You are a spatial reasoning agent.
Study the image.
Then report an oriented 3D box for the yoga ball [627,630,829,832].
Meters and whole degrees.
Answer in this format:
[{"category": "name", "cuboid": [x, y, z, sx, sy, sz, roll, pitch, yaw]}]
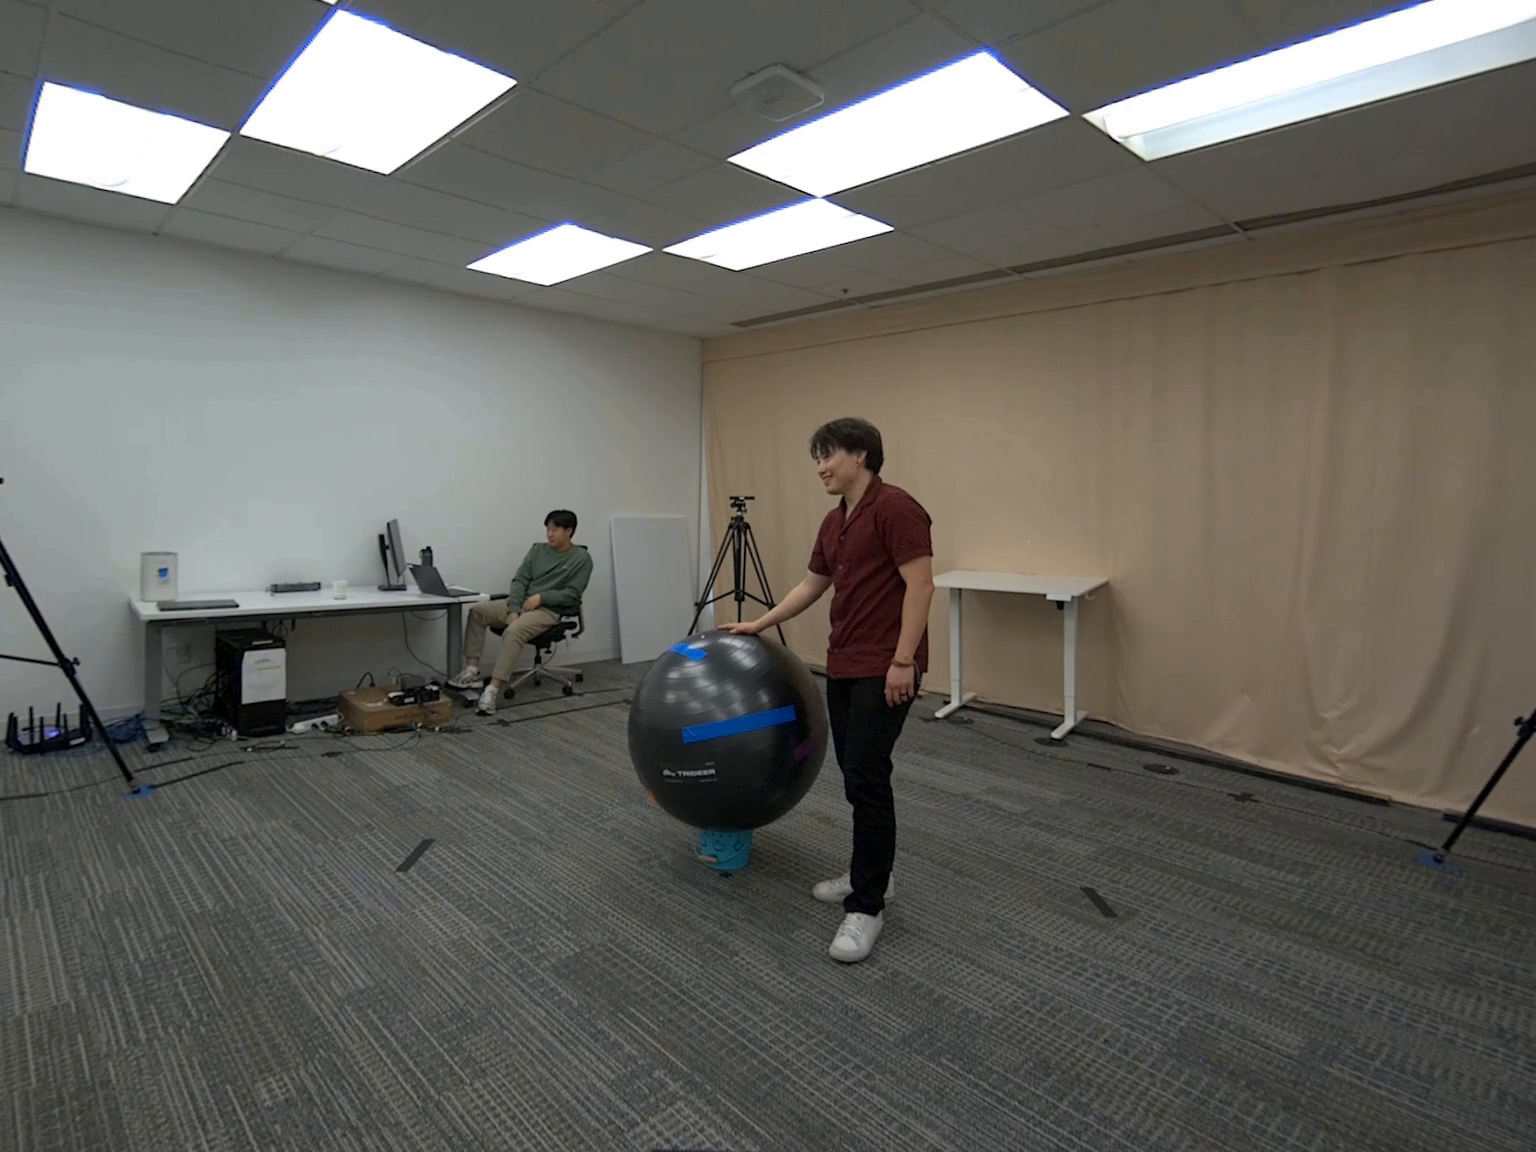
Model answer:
[{"category": "yoga ball", "cuboid": [-0.164, 0.587, 3.207, 0.757, 0.756, 0.761, 1, 4, -1]}]
